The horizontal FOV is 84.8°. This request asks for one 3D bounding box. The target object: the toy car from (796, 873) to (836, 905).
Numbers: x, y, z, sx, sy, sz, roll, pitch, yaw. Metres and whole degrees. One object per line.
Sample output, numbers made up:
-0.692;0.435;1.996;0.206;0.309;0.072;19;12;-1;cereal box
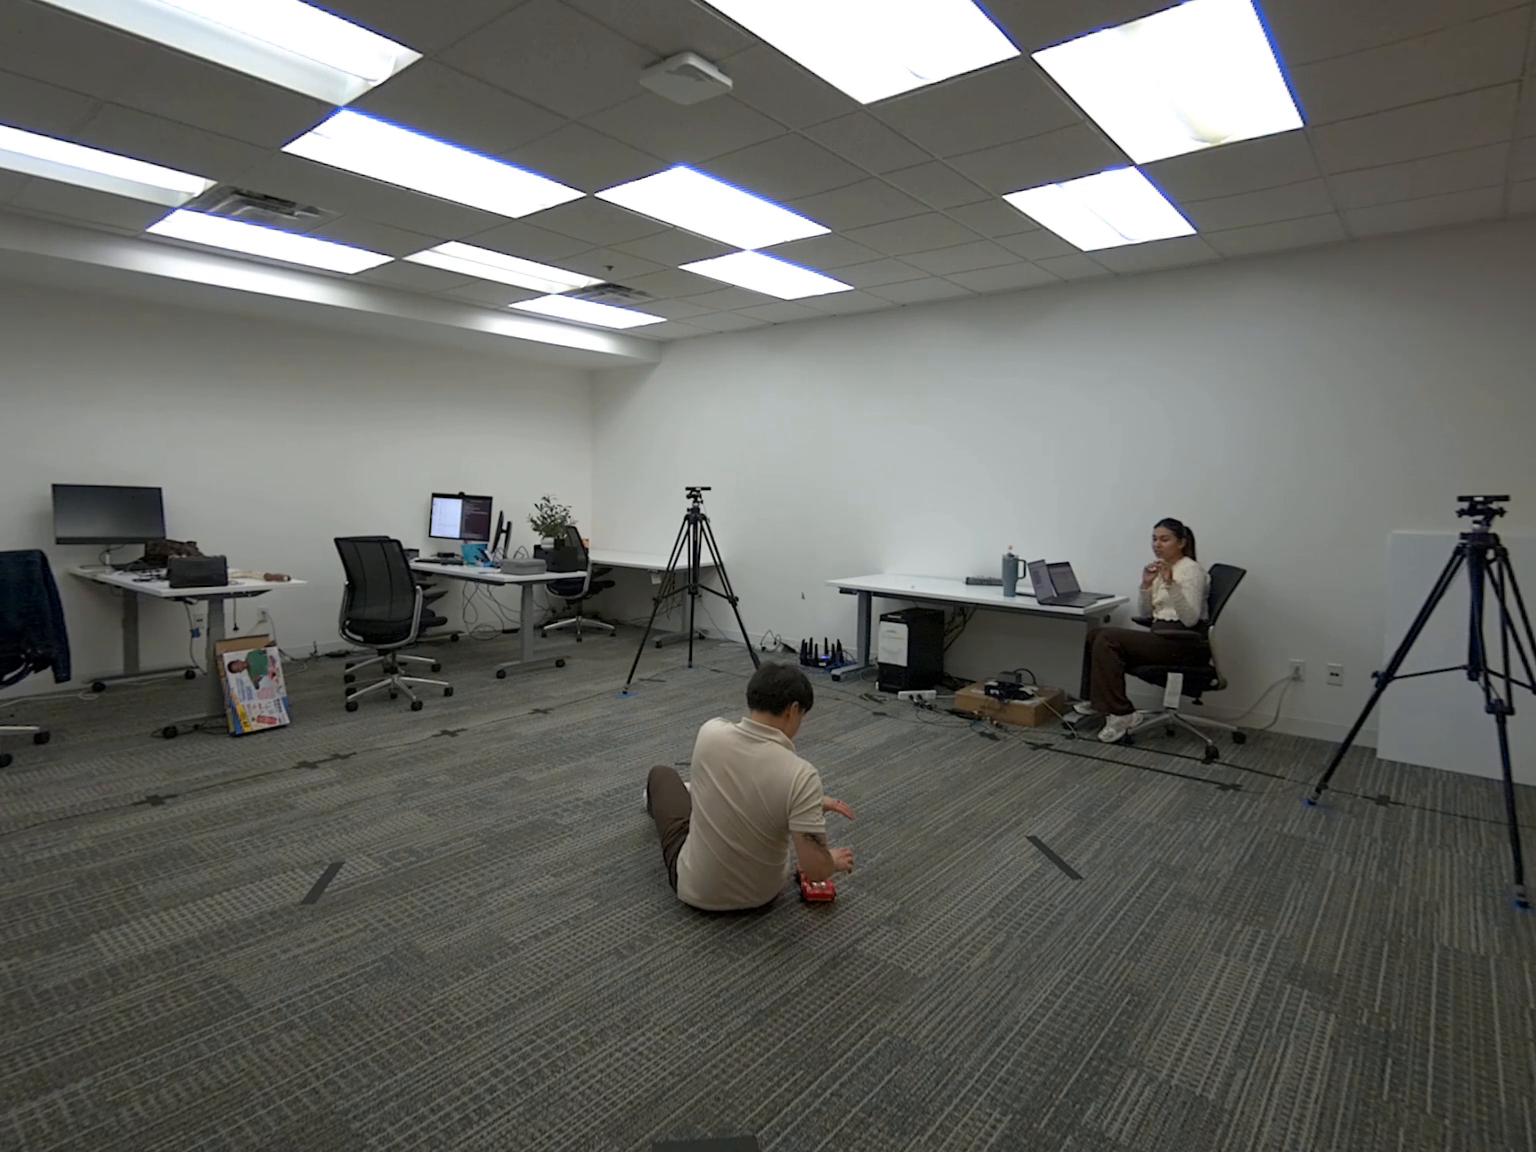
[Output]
0.157;1.065;2.929;0.130;0.084;0.254;2;-5;-4;toy car
